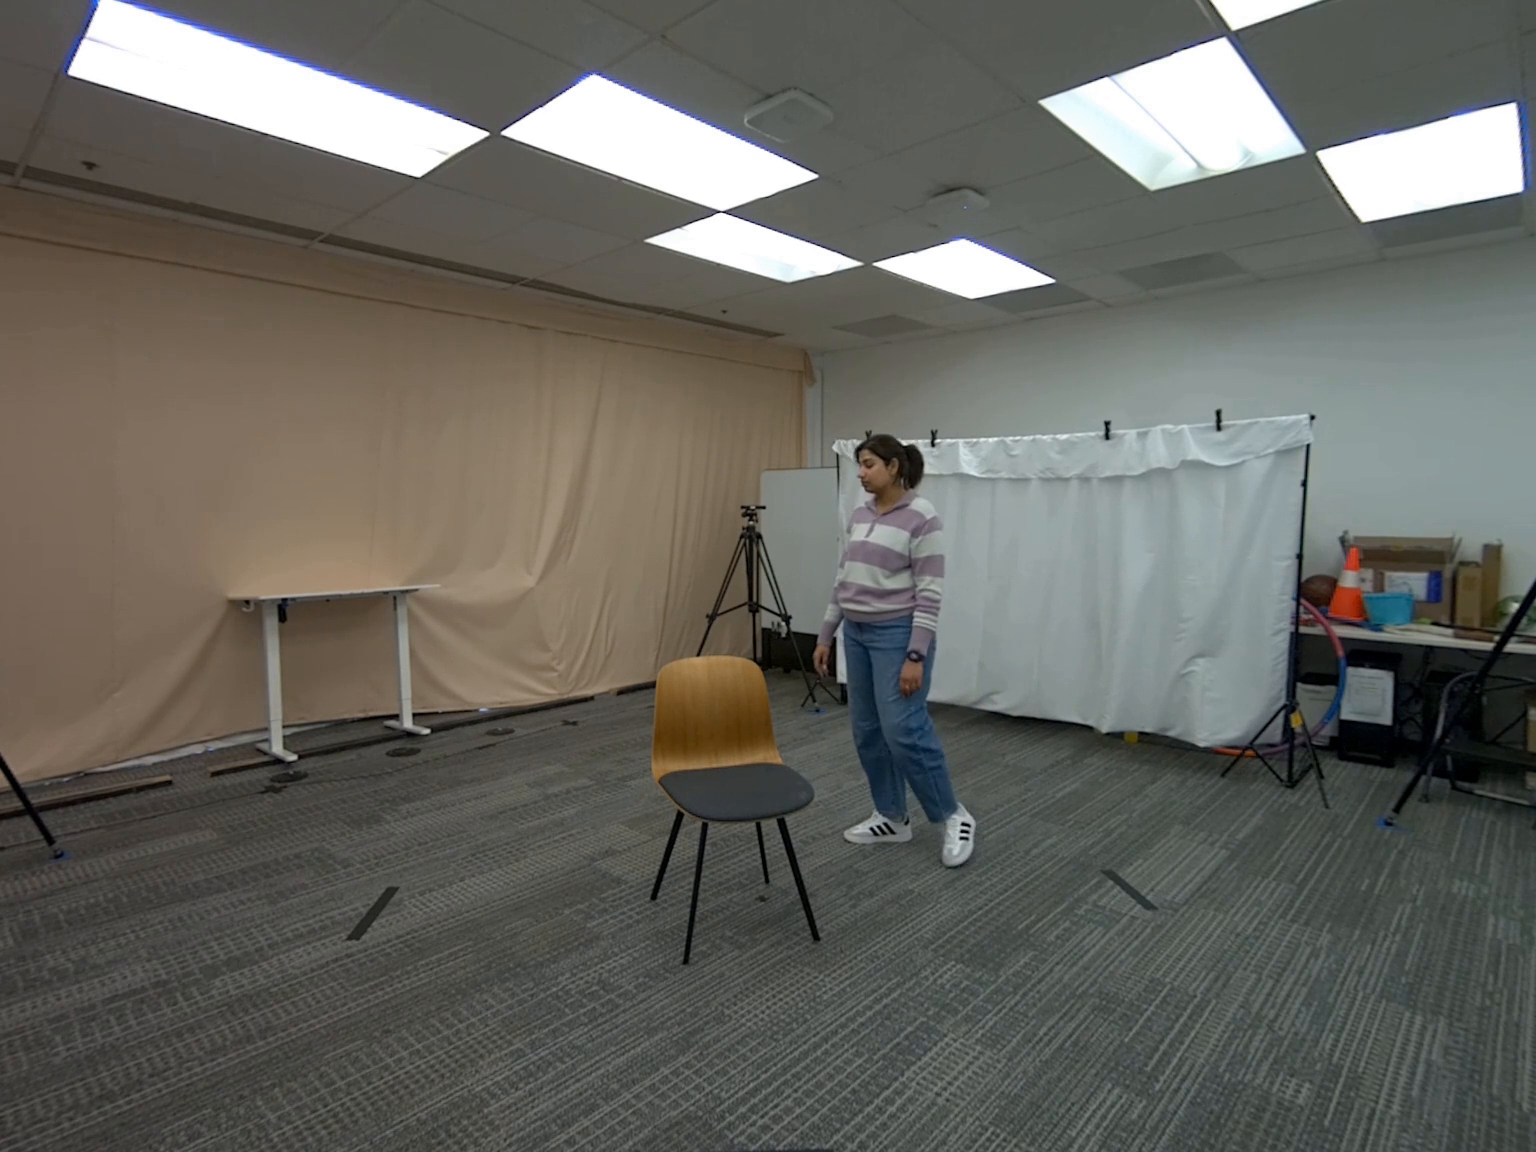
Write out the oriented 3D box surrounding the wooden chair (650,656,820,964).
[{"bbox_3d":[-0.118,0.731,2.797,0.469,0.878,0.533,-1,-1,-20],"label":"wooden chair"}]
